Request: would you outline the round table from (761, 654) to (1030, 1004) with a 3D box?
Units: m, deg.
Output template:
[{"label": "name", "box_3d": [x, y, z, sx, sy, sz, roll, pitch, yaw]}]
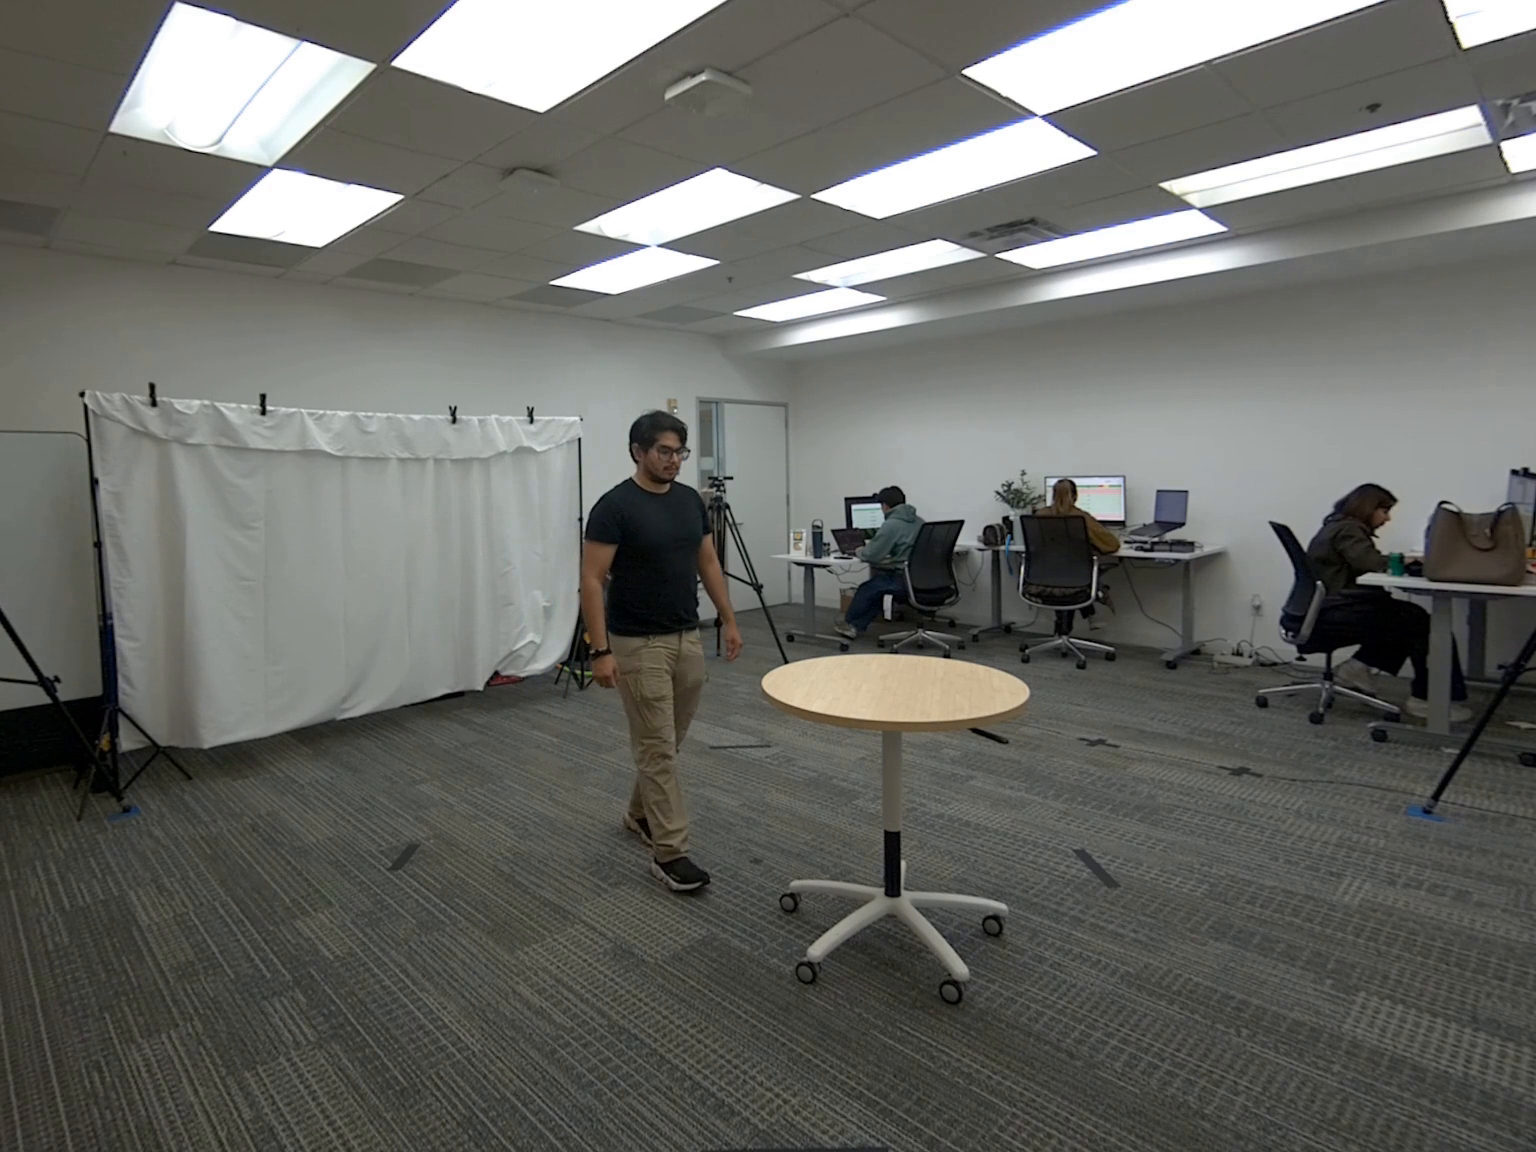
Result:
[{"label": "round table", "box_3d": [0.374, 0.699, 2.557, 0.784, 0.783, 0.790, -2, 6, -2]}]
